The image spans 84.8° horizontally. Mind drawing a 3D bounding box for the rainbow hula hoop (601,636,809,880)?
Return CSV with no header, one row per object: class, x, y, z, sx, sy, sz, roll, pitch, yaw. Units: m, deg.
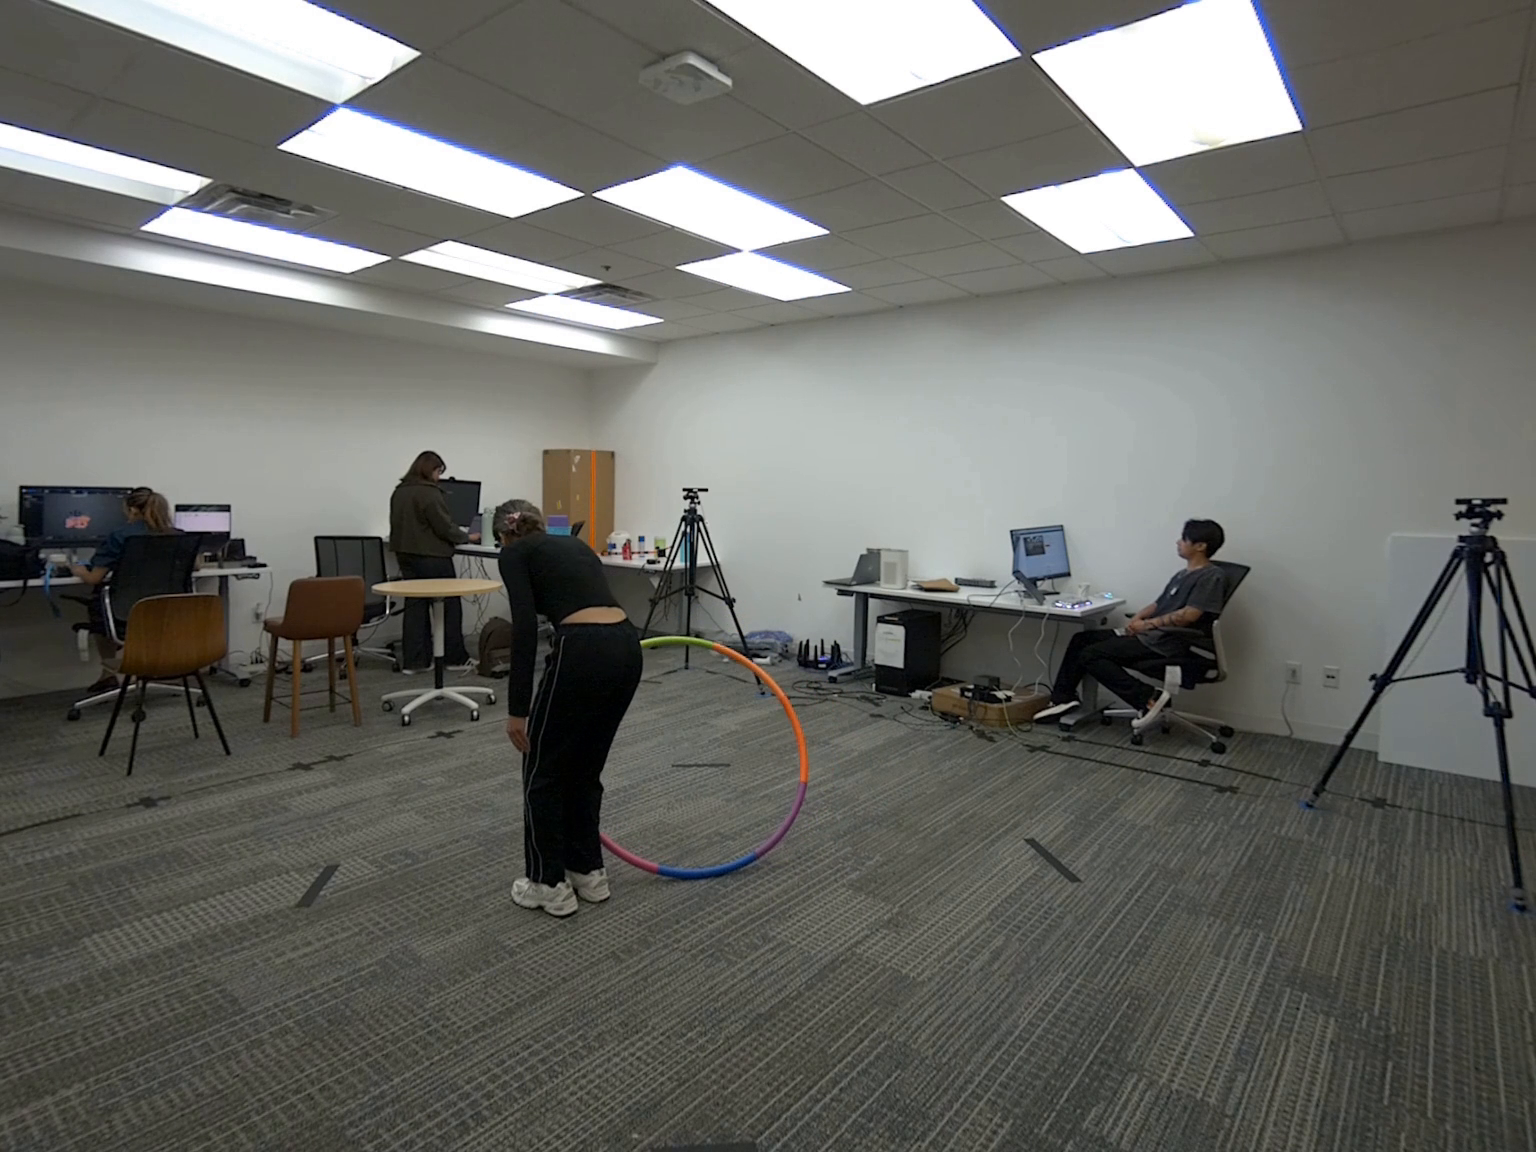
rainbow hula hoop,-0.316,0.669,3.307,0.961,1.011,0.035,-2,-36,-18
